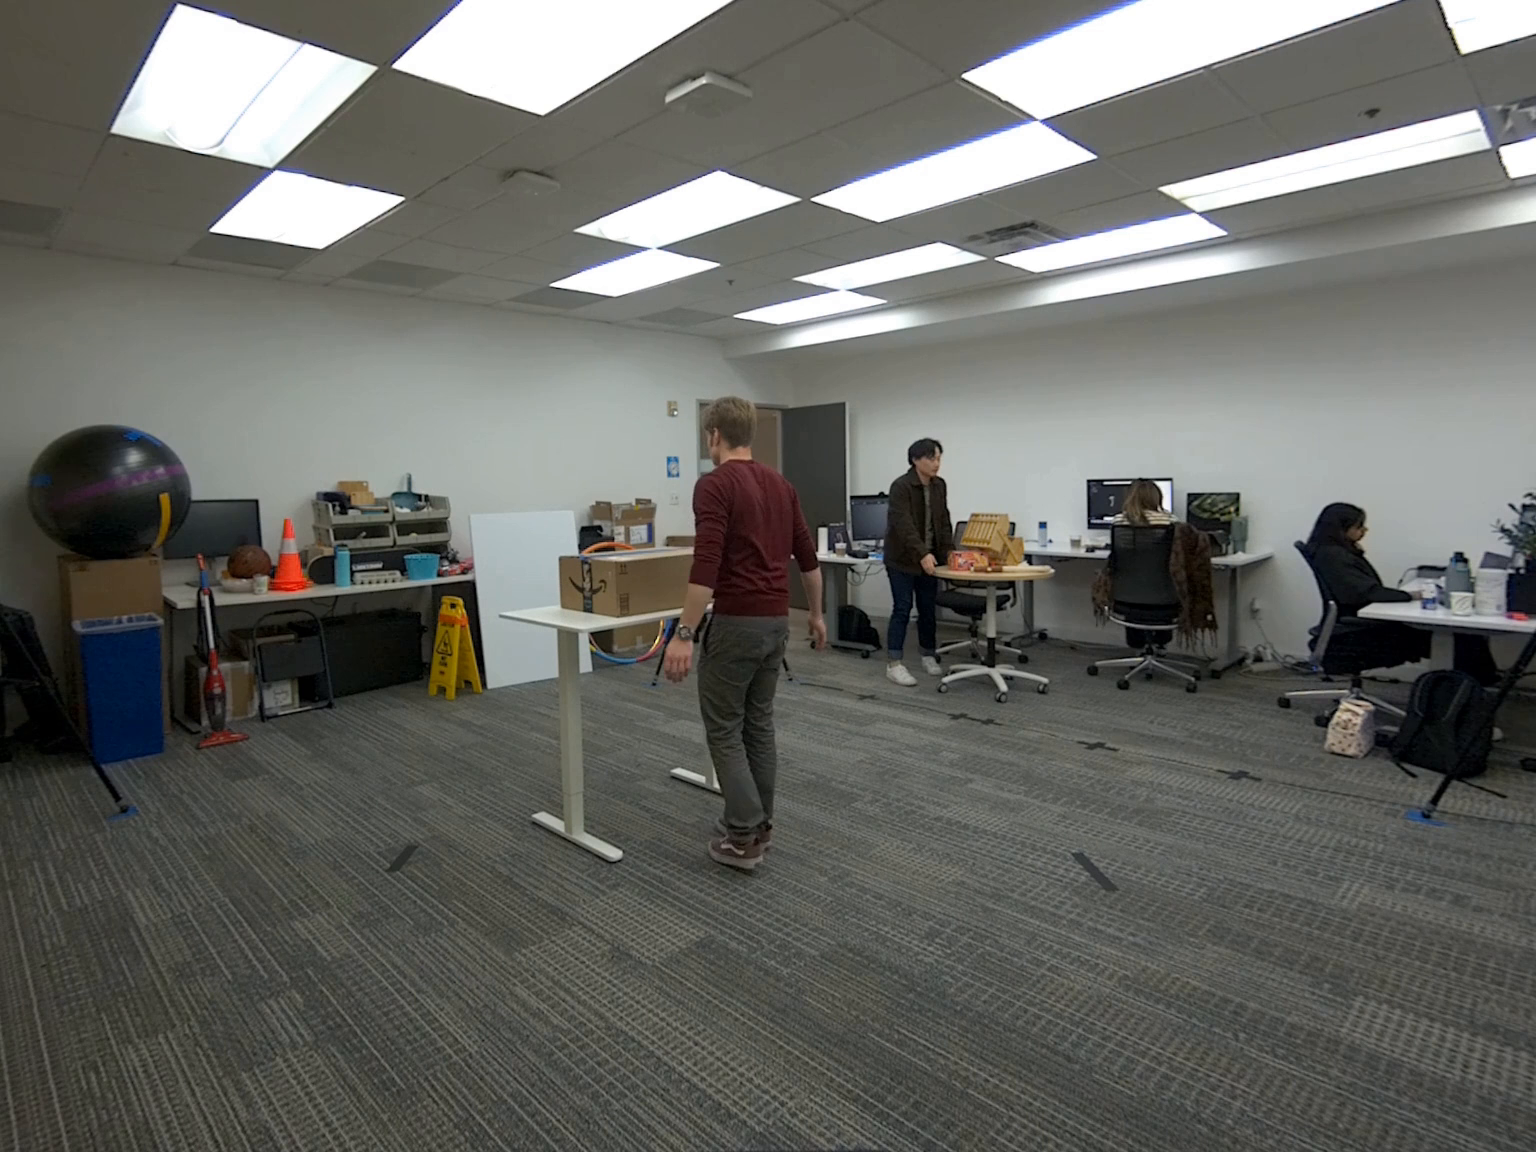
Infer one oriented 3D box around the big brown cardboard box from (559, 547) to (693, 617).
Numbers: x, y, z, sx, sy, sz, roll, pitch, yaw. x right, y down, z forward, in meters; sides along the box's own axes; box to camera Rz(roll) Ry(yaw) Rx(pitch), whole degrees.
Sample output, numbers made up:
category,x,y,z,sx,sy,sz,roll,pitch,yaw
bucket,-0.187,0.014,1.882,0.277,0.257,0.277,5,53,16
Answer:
category,x,y,z,sx,sy,sz,roll,pitch,yaw
big brown cardboard box,-0.516,0.010,3.550,0.573,0.232,0.430,-6,7,-44
